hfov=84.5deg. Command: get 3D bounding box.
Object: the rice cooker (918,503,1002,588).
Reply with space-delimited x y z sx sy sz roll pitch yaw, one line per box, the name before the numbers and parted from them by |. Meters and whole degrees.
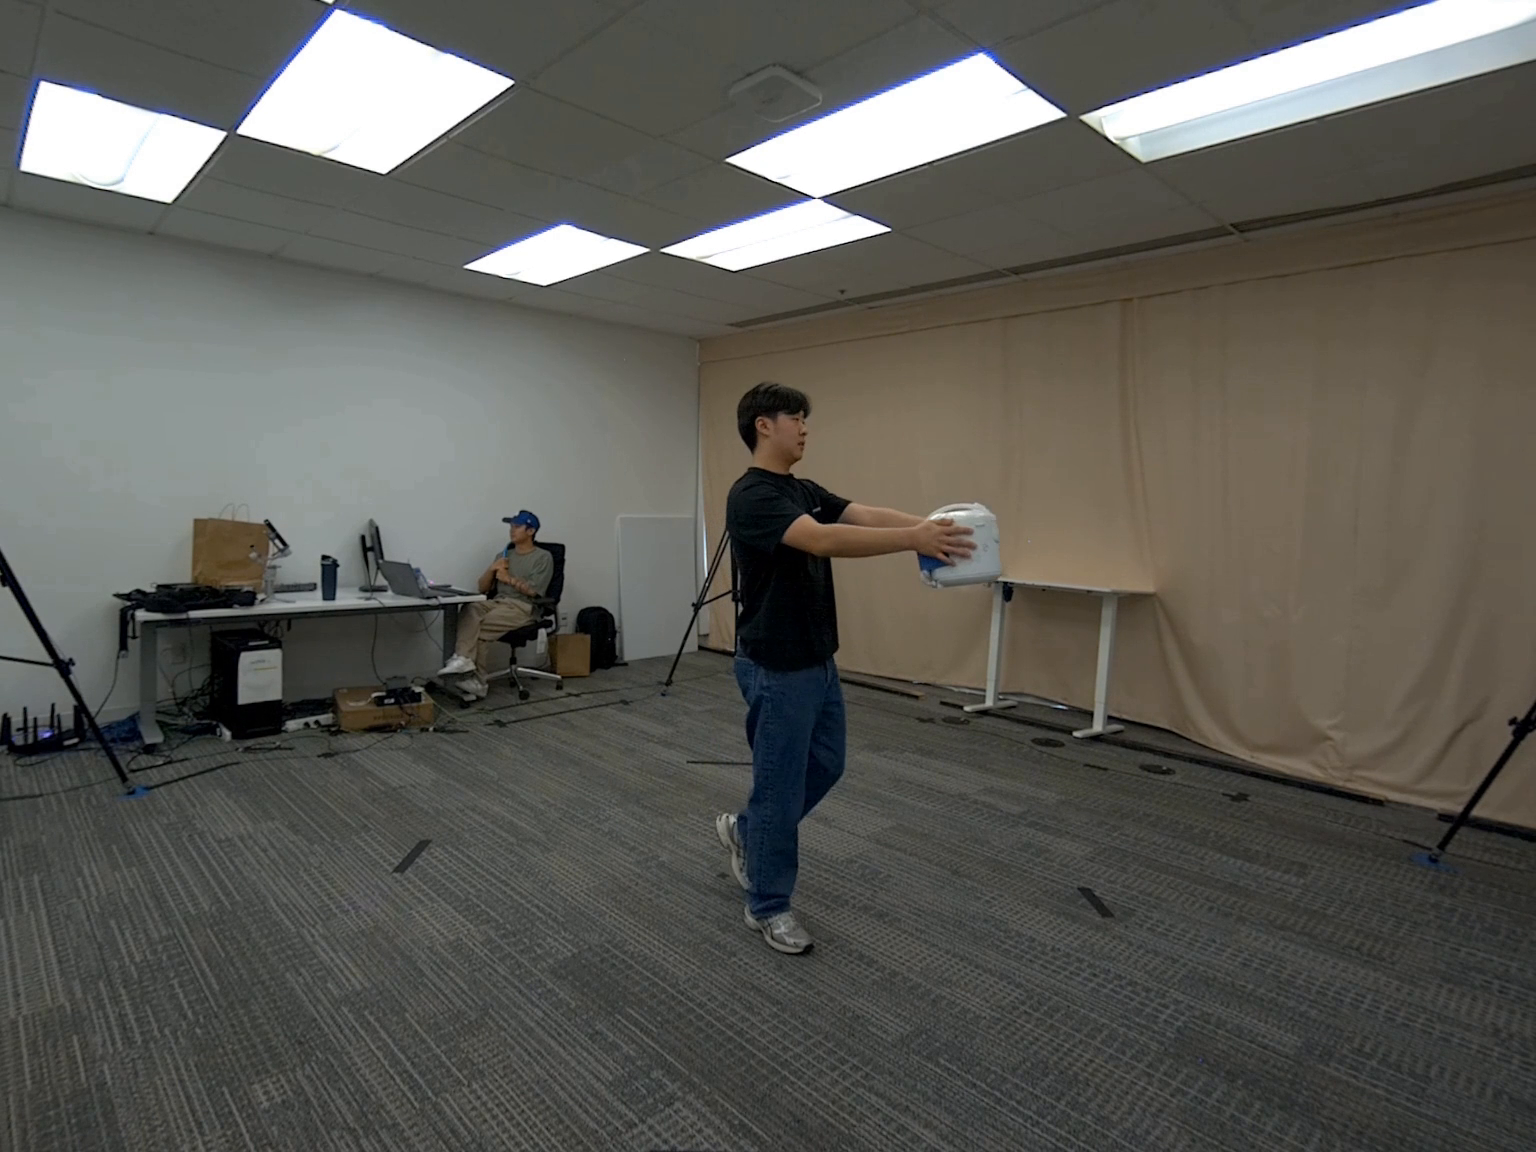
rice cooker | 0.535 -0.089 2.396 0.224 0.233 0.213 -7 -1 30
